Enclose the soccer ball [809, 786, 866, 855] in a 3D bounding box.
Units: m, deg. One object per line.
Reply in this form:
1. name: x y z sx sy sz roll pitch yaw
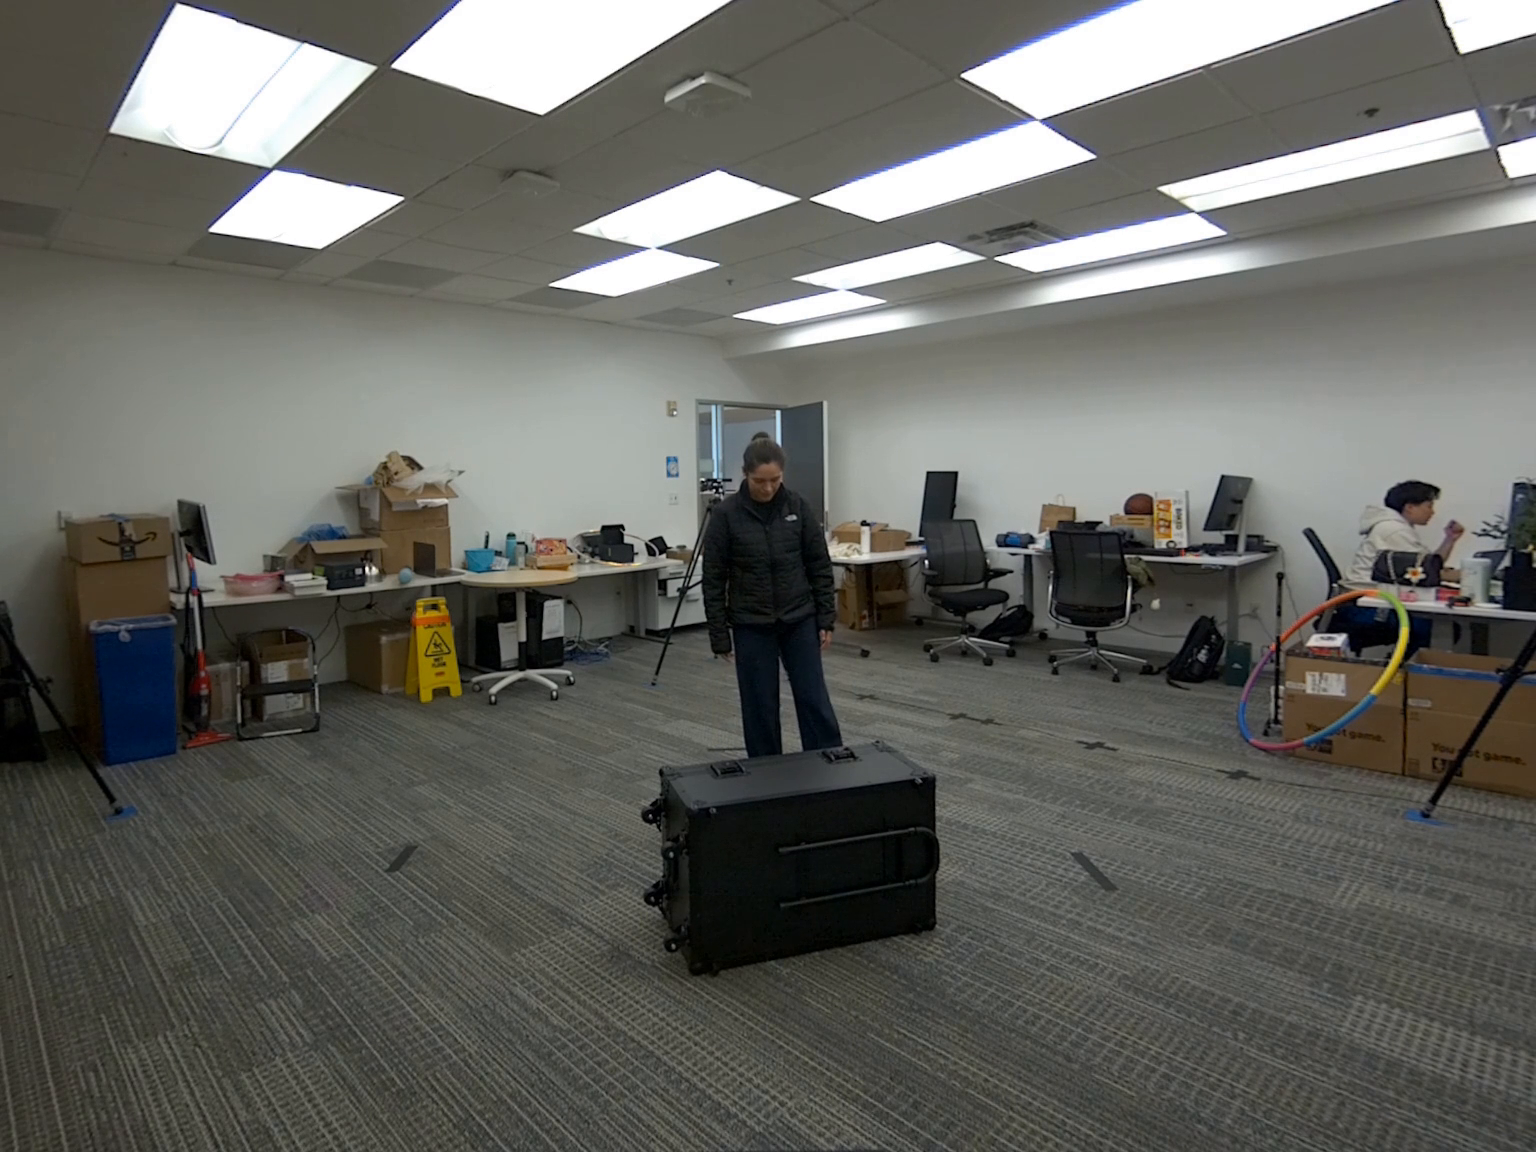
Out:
1. soccer ball: 0.260 0.933 3.283 0.187 0.187 0.188 -1 5 -2
